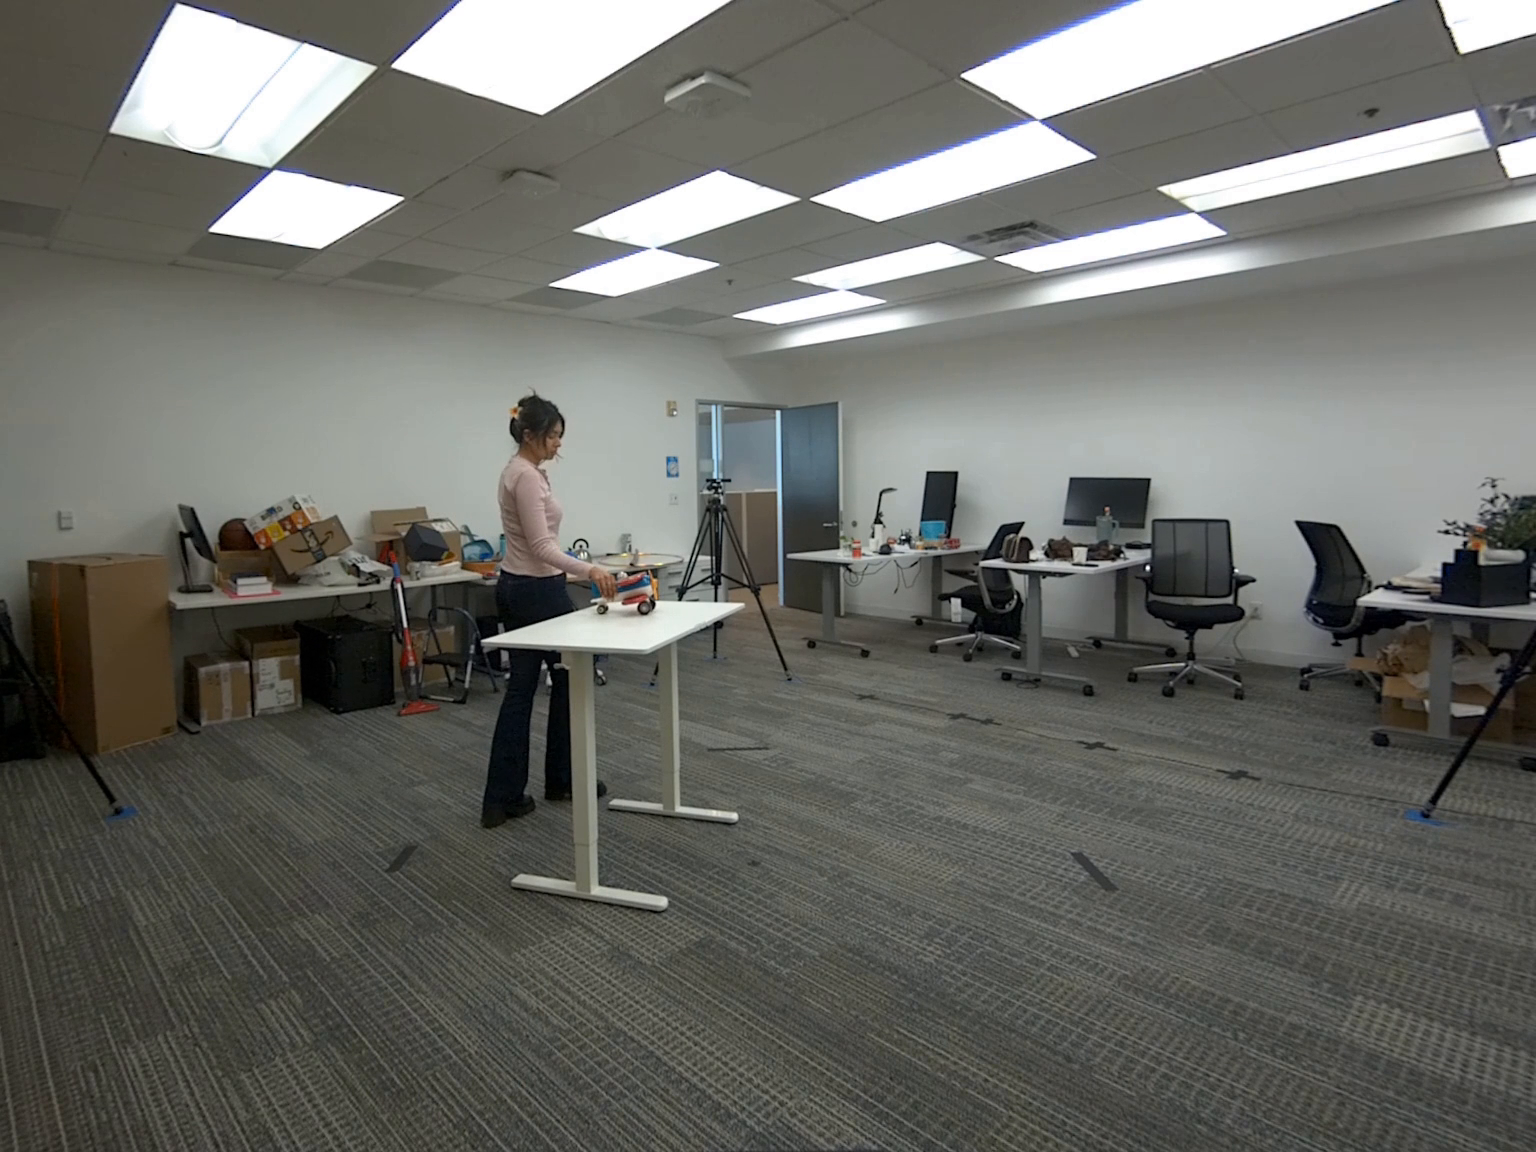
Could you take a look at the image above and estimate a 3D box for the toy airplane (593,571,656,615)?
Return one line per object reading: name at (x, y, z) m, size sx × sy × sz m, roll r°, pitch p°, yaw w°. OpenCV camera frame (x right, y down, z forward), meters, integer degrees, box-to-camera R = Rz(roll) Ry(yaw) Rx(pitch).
toy airplane at (-0.561, 0.074, 3.327) m, size 0.254 × 0.156 × 0.257 m, roll -3°, pitch 5°, yaw -22°
